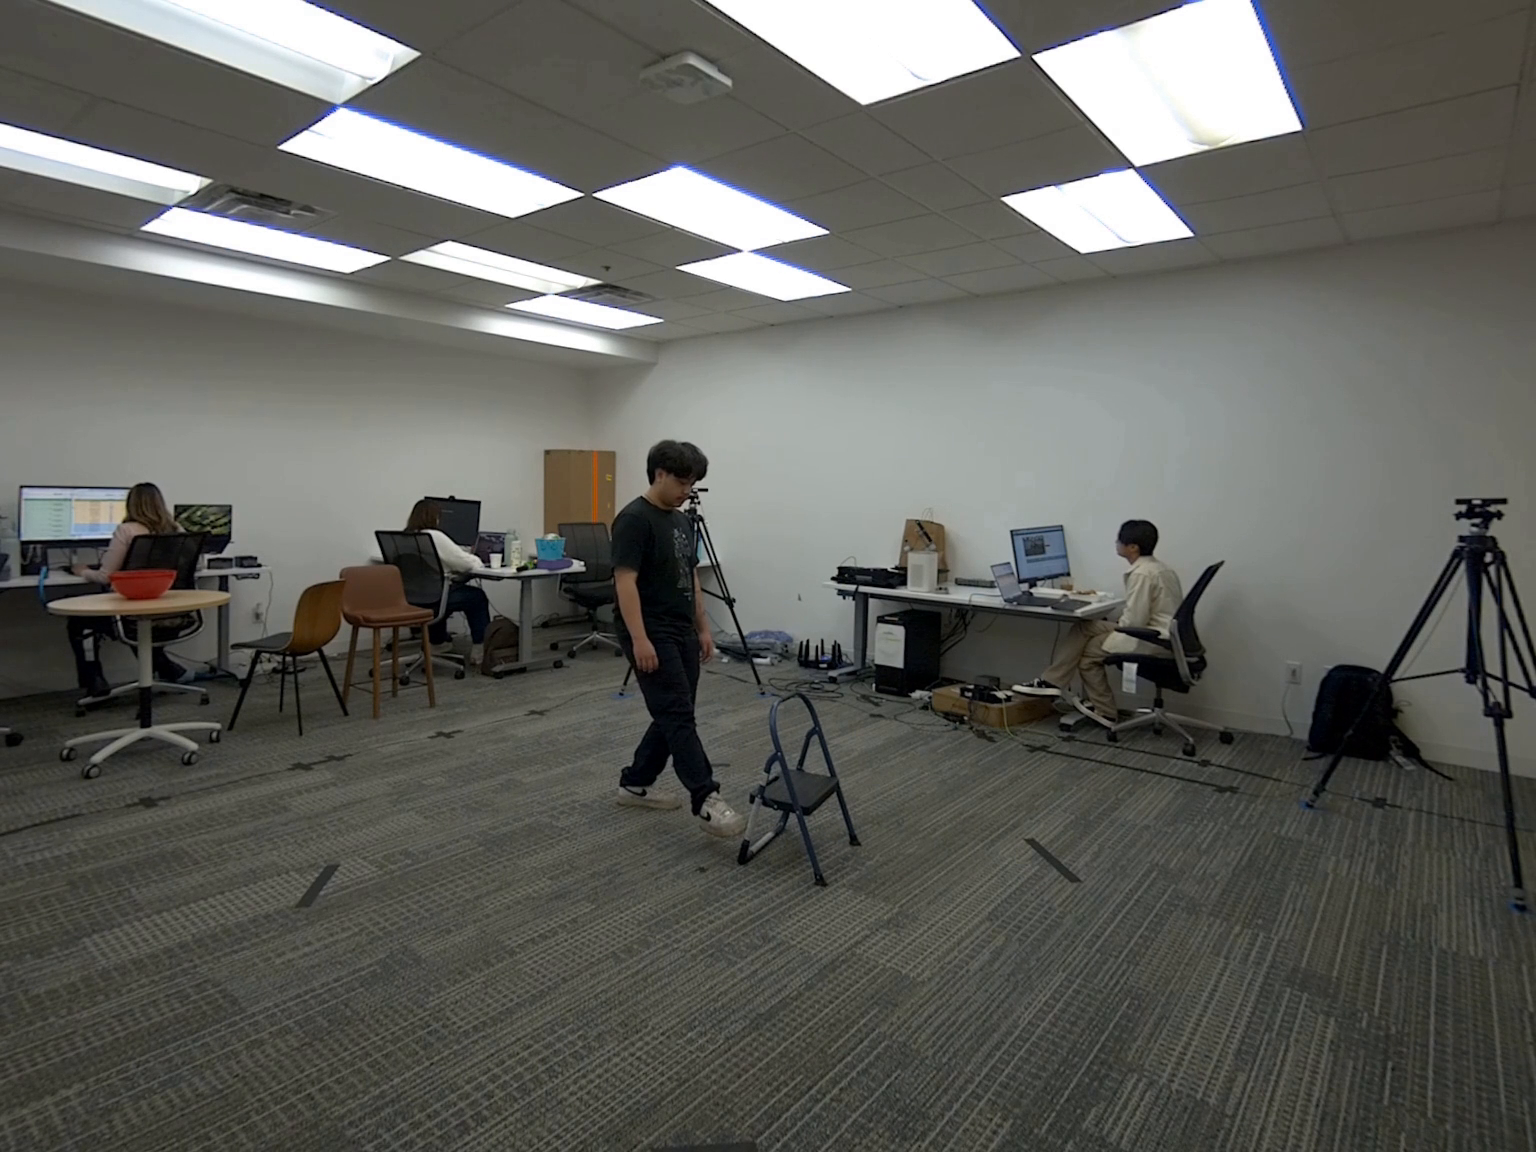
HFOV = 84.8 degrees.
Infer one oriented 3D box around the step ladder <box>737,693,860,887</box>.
[{"bbox_3d":[0.126,0.758,3.242,0.358,0.604,0.421,4,4,24],"label":"step ladder"}]
